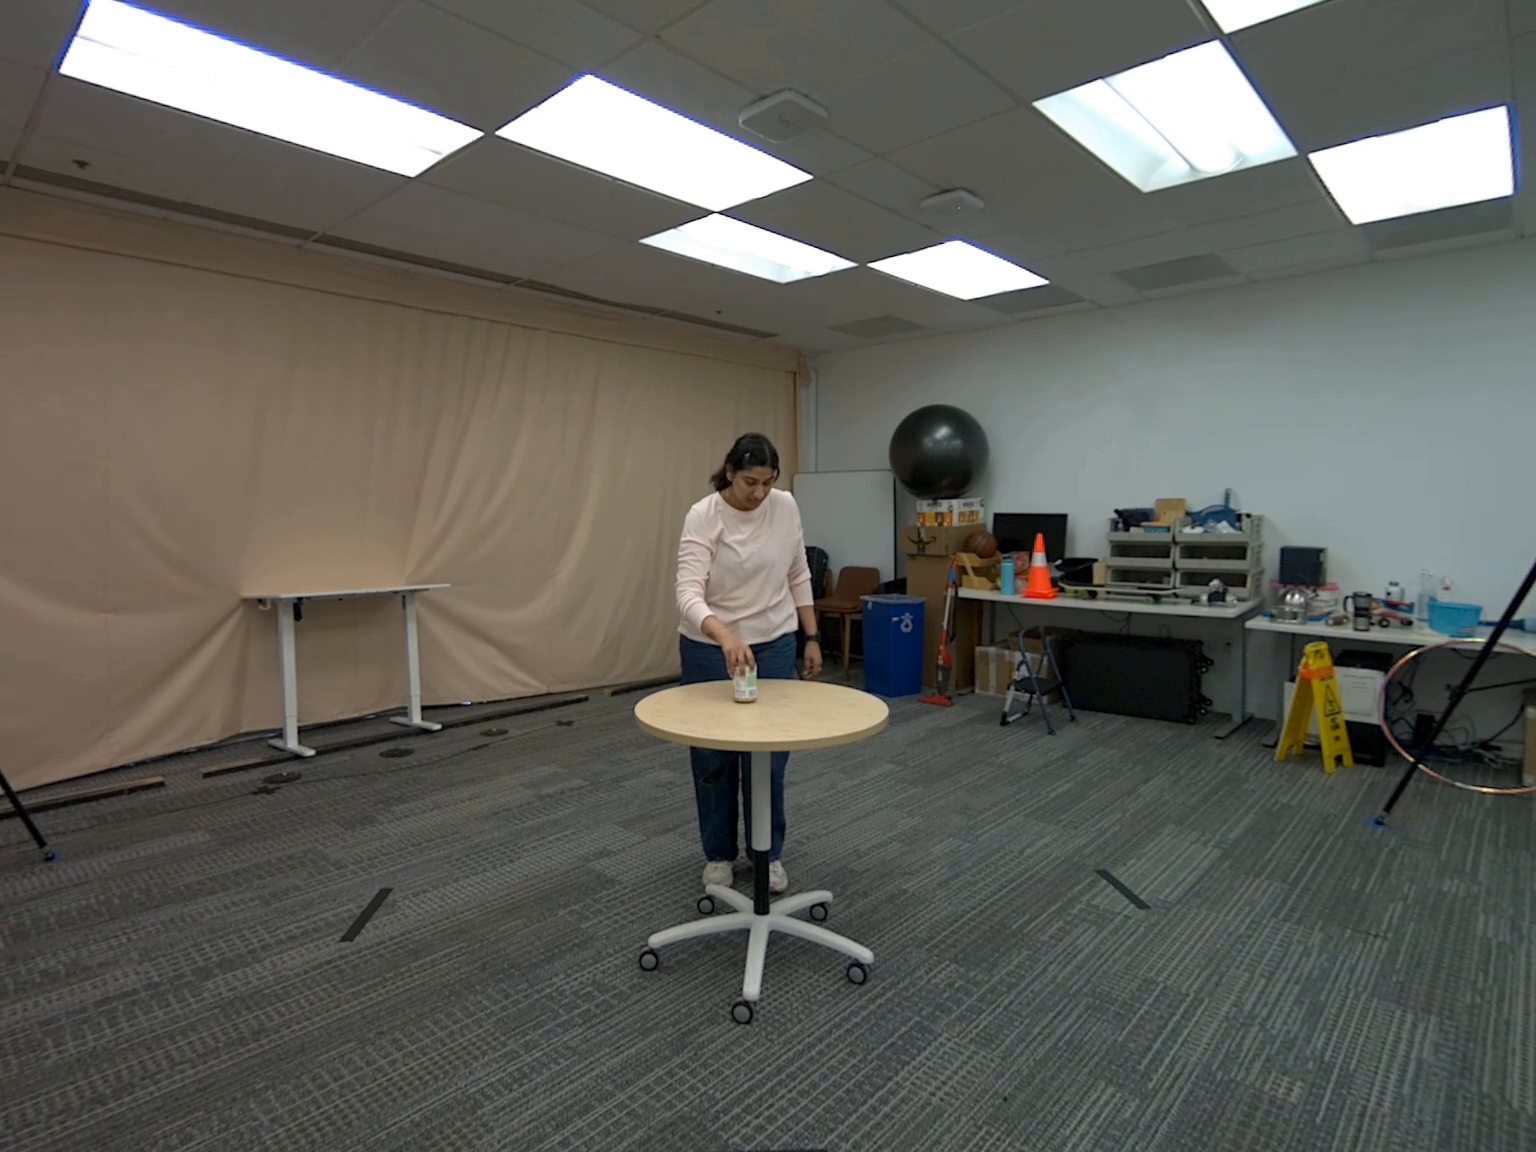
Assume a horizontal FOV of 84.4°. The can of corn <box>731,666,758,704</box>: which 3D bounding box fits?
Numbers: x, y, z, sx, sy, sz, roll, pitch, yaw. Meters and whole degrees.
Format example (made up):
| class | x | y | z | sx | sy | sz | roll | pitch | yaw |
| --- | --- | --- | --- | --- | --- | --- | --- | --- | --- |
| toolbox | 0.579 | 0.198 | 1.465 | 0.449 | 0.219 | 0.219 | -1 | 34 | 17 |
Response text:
| class | x | y | z | sx | sy | sz | roll | pitch | yaw |
| --- | --- | --- | --- | --- | --- | --- | --- | --- | --- |
| can of corn | -0.075 | 0.327 | 2.625 | 0.074 | 0.111 | 0.074 | -1 | -3 | -2 |
